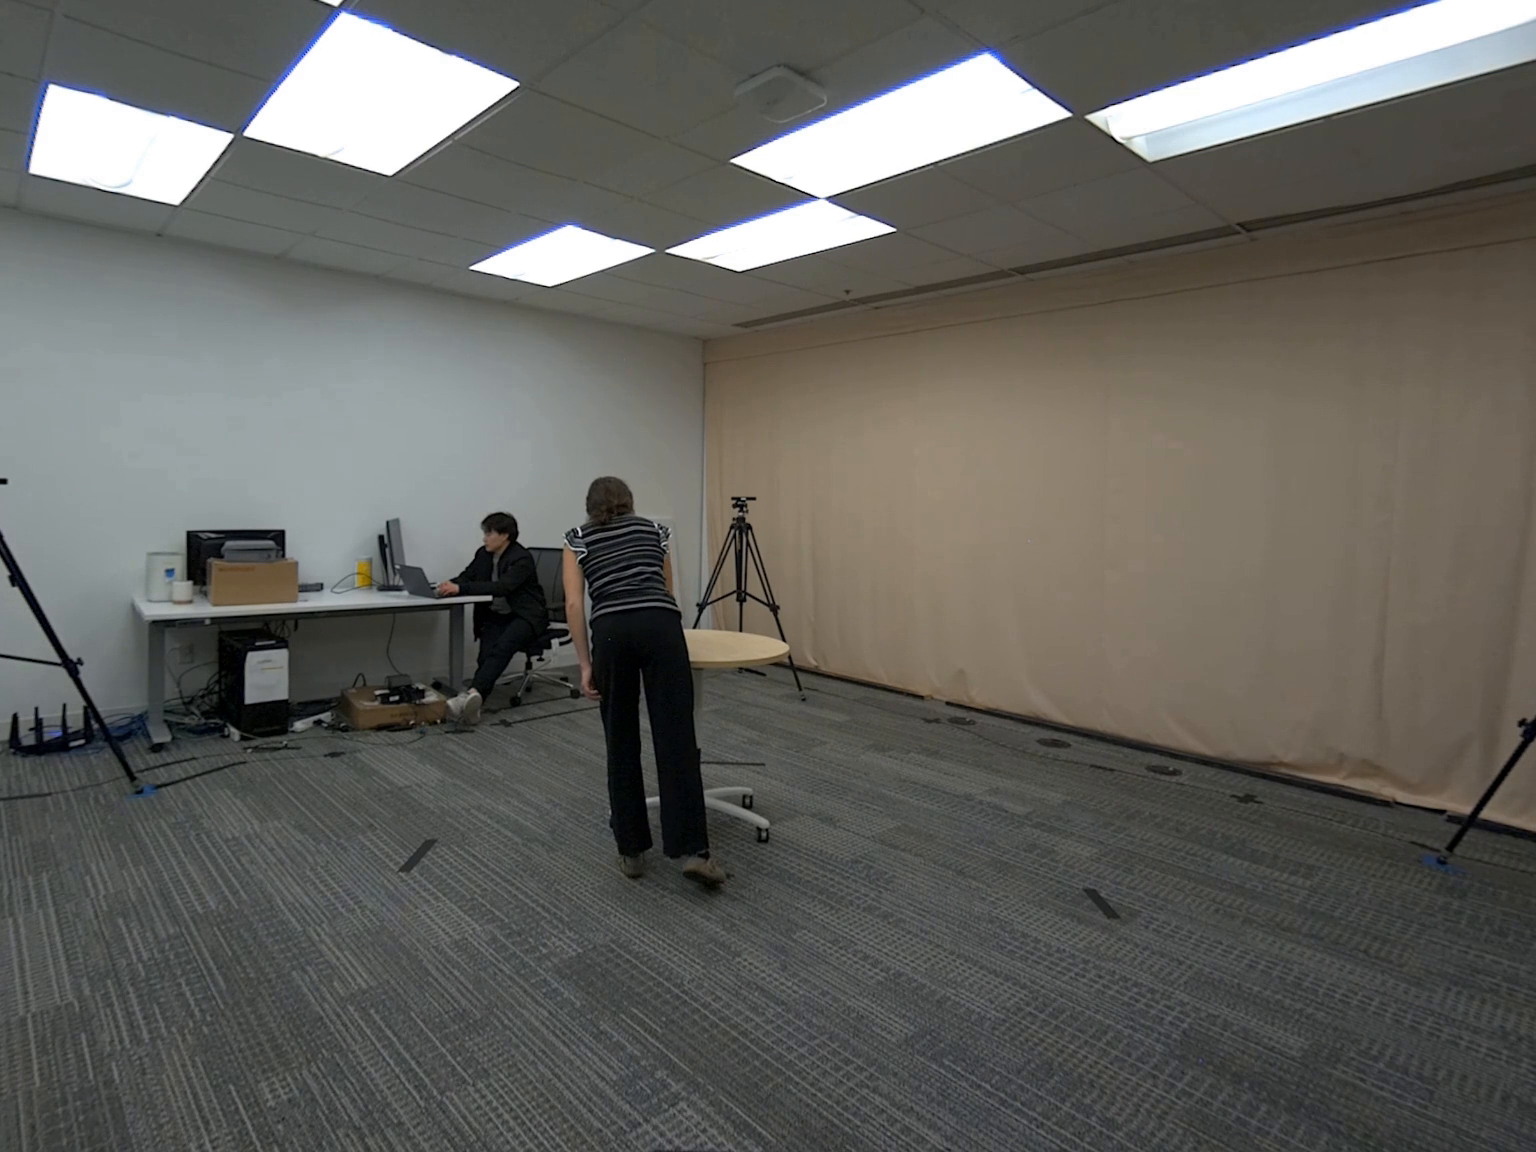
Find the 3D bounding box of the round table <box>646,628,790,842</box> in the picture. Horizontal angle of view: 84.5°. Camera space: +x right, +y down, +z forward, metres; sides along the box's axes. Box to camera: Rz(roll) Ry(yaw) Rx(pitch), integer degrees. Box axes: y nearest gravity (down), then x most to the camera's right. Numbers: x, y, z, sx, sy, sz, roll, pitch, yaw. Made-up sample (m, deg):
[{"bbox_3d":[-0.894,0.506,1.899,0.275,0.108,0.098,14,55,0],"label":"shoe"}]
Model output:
[{"bbox_3d":[-0.315,0.677,3.557,0.763,0.792,0.766,2,4,-1],"label":"round table"}]
